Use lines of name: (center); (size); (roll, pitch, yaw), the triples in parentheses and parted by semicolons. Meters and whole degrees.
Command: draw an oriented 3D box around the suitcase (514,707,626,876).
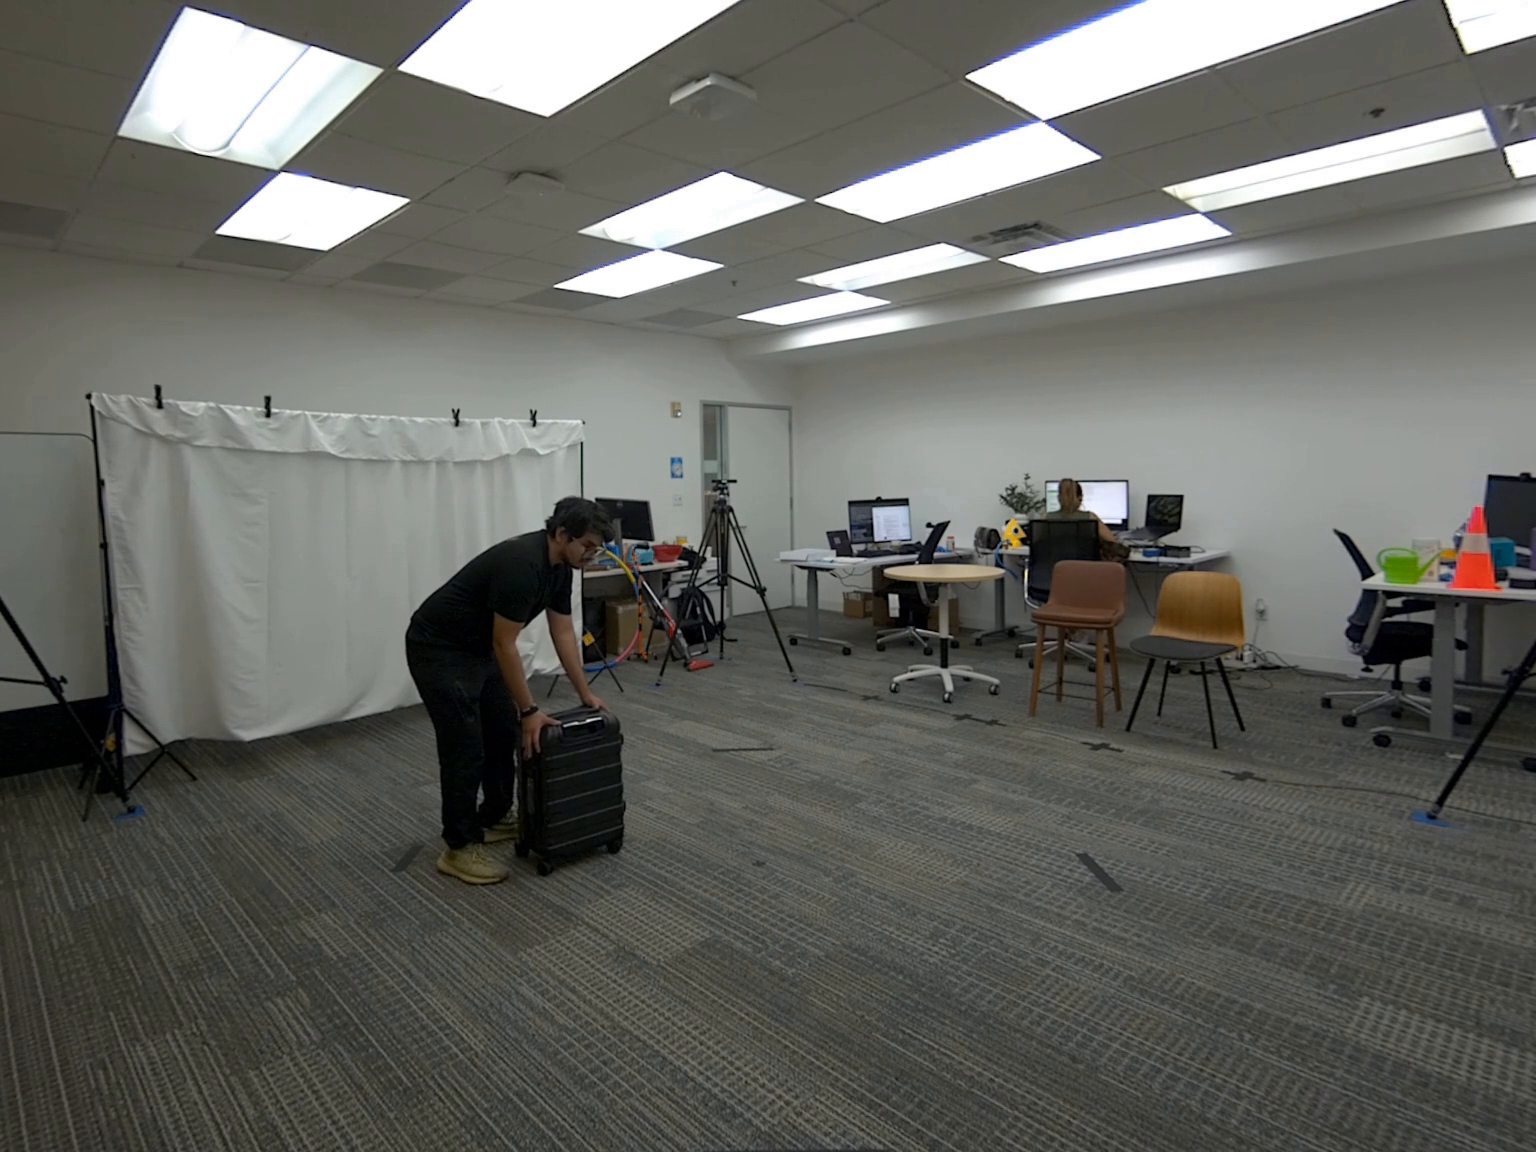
suitcase: (-0.745, 0.769, 3.210); (0.365, 0.547, 0.256); (-4, 5, -40)
